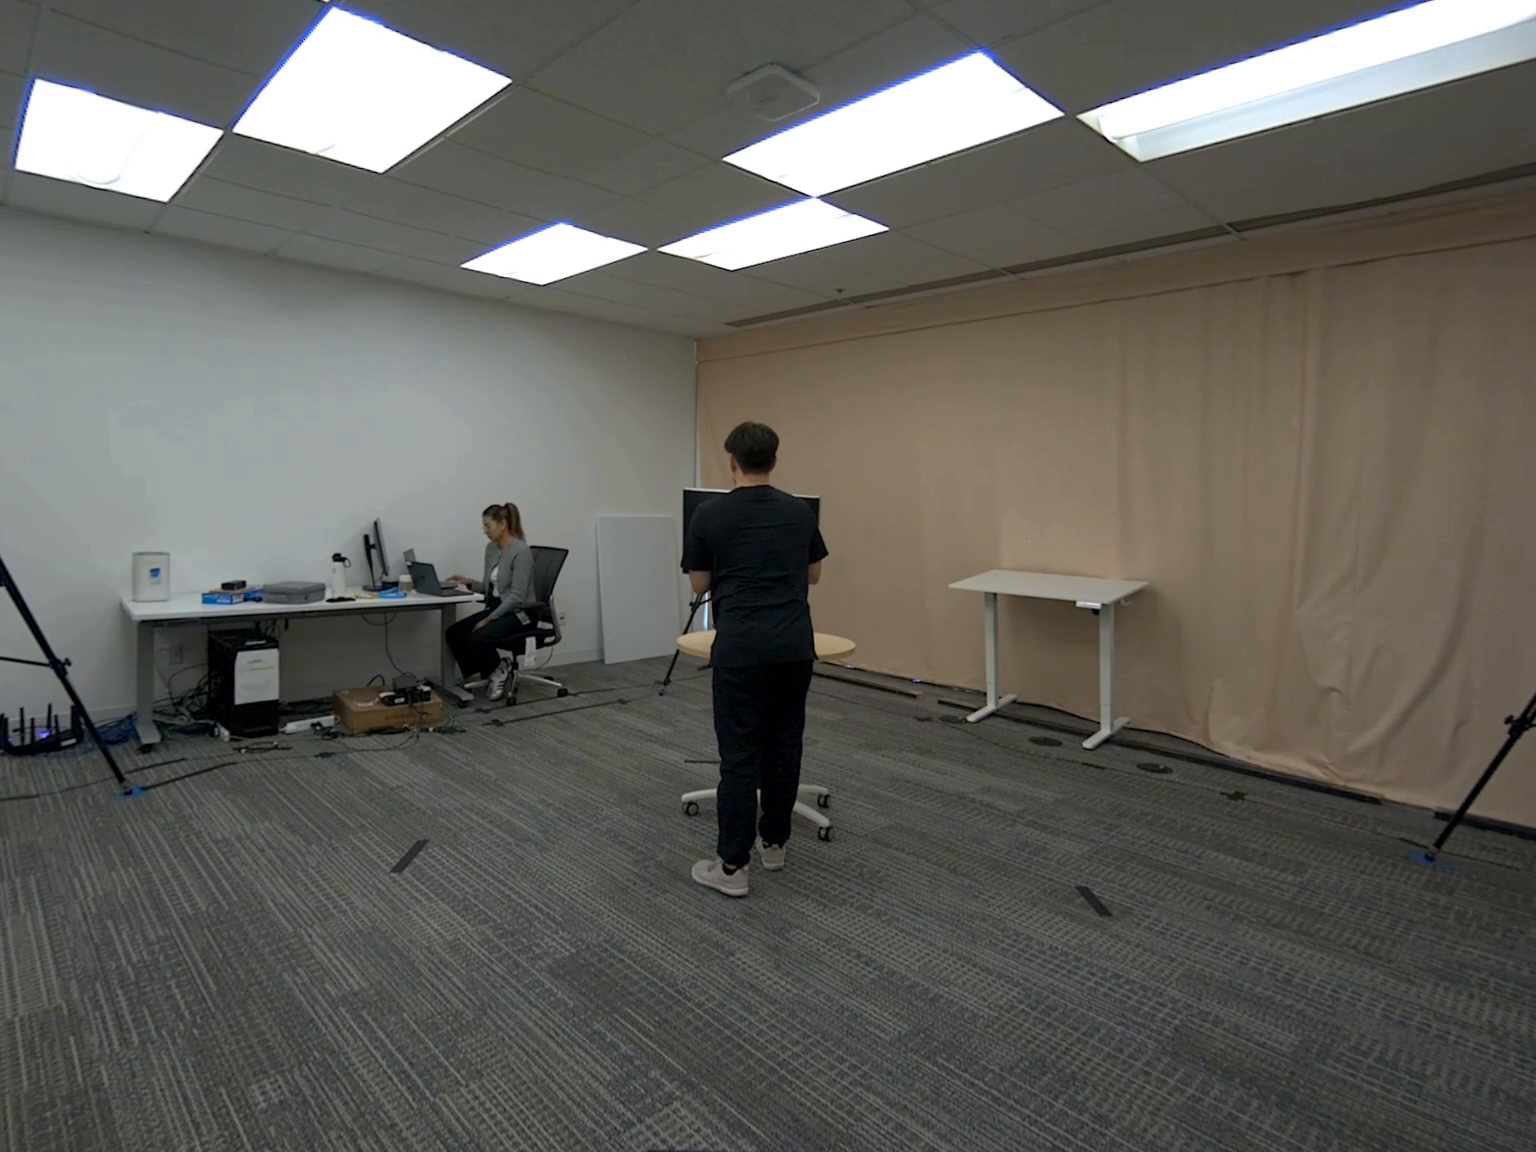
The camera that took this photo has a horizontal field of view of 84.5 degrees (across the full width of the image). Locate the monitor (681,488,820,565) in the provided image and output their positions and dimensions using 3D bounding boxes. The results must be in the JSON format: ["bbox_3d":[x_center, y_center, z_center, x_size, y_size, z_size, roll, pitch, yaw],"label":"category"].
[{"bbox_3d":[-0.092,-0.052,3.369,0.542,0.521,0.186,3,4,7],"label":"monitor"}]
